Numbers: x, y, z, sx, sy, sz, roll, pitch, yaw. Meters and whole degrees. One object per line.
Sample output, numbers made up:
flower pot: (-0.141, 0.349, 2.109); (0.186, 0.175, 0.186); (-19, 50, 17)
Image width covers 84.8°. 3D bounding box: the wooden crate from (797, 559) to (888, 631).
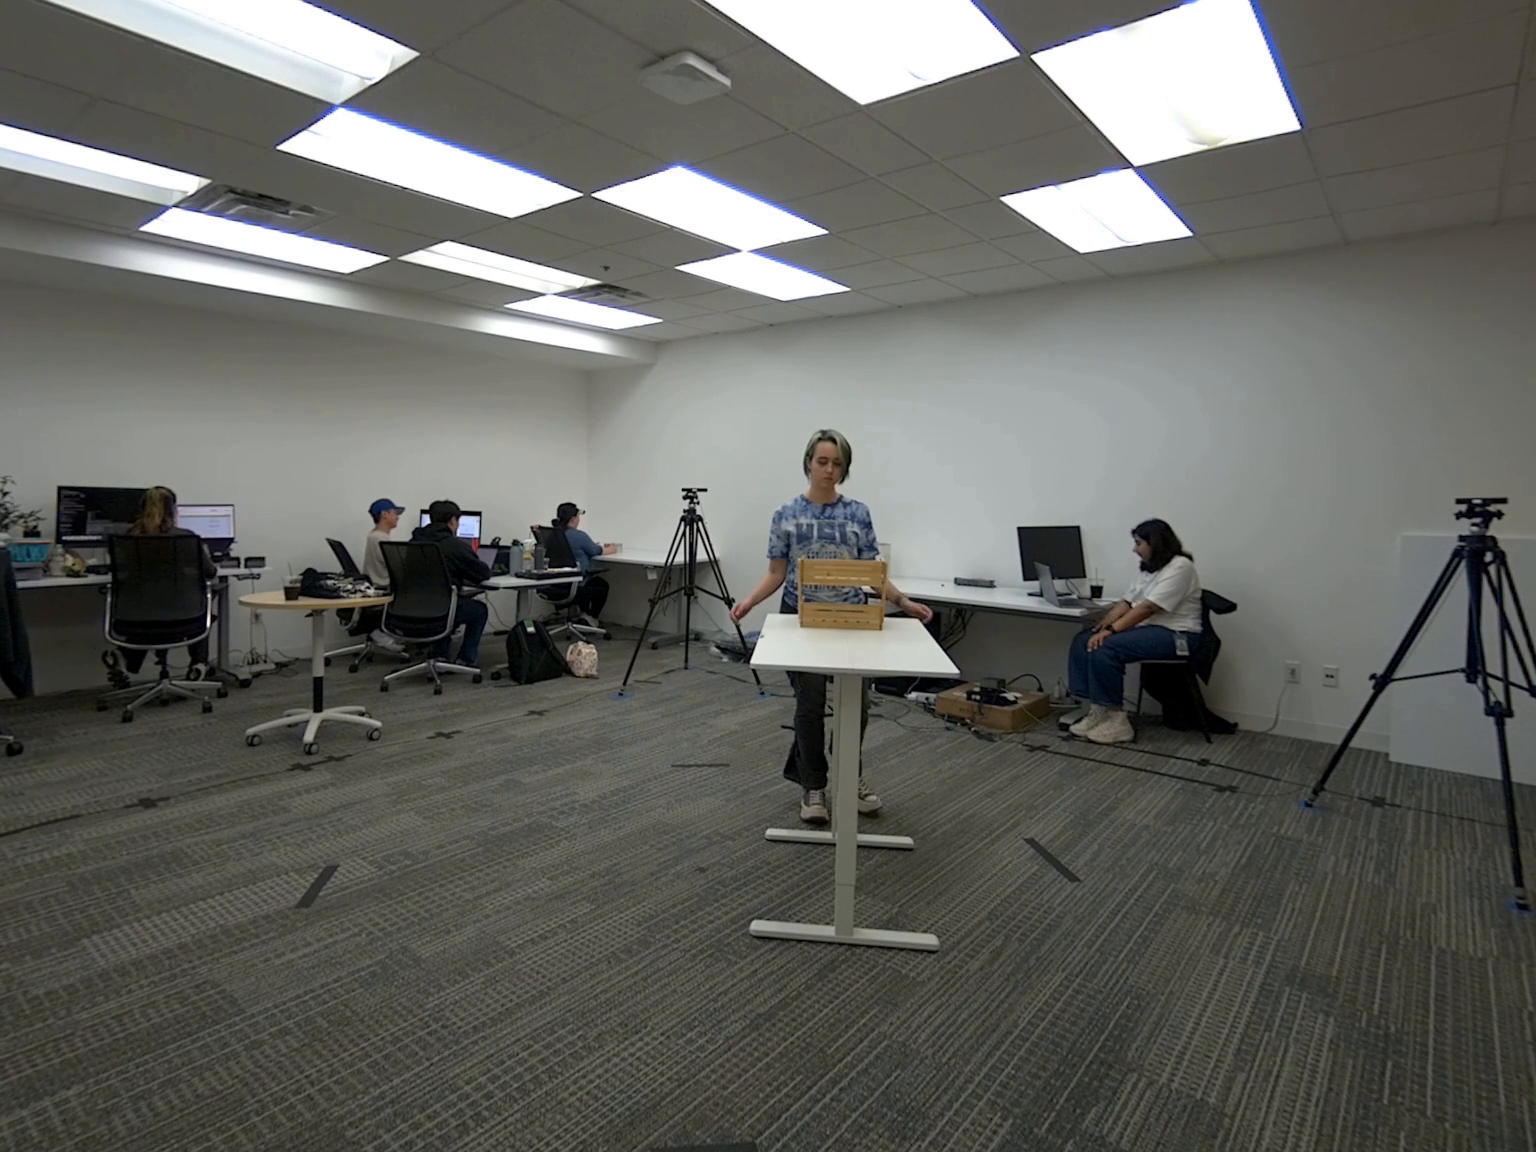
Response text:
wooden crate: (0.276, 0.047, 3.238); (0.327, 0.272, 0.301); (2, 6, 6)
